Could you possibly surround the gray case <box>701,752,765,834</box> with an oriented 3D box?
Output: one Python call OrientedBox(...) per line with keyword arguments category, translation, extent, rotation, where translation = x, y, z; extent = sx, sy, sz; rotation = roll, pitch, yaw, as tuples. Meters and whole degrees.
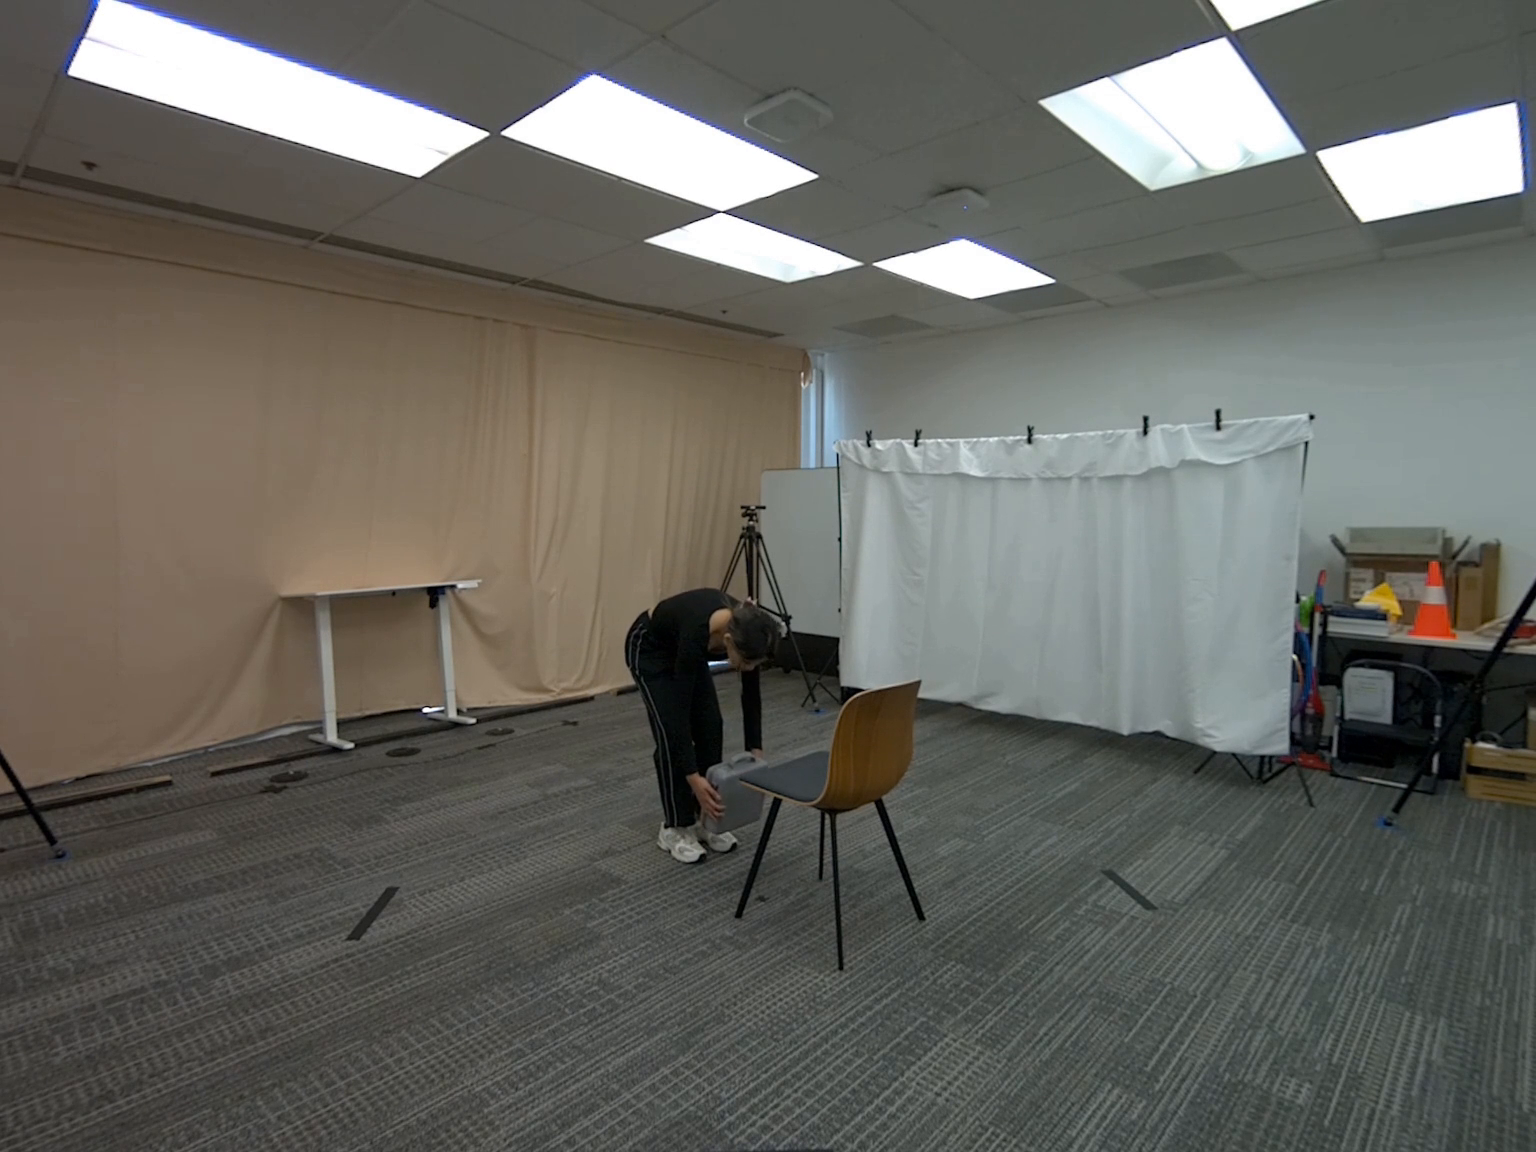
OrientedBox(category="gray case", translation=(-0.124, 0.816, 3.179), extent=(0.249, 0.259, 0.108), rotation=(-2, 15, -41))
